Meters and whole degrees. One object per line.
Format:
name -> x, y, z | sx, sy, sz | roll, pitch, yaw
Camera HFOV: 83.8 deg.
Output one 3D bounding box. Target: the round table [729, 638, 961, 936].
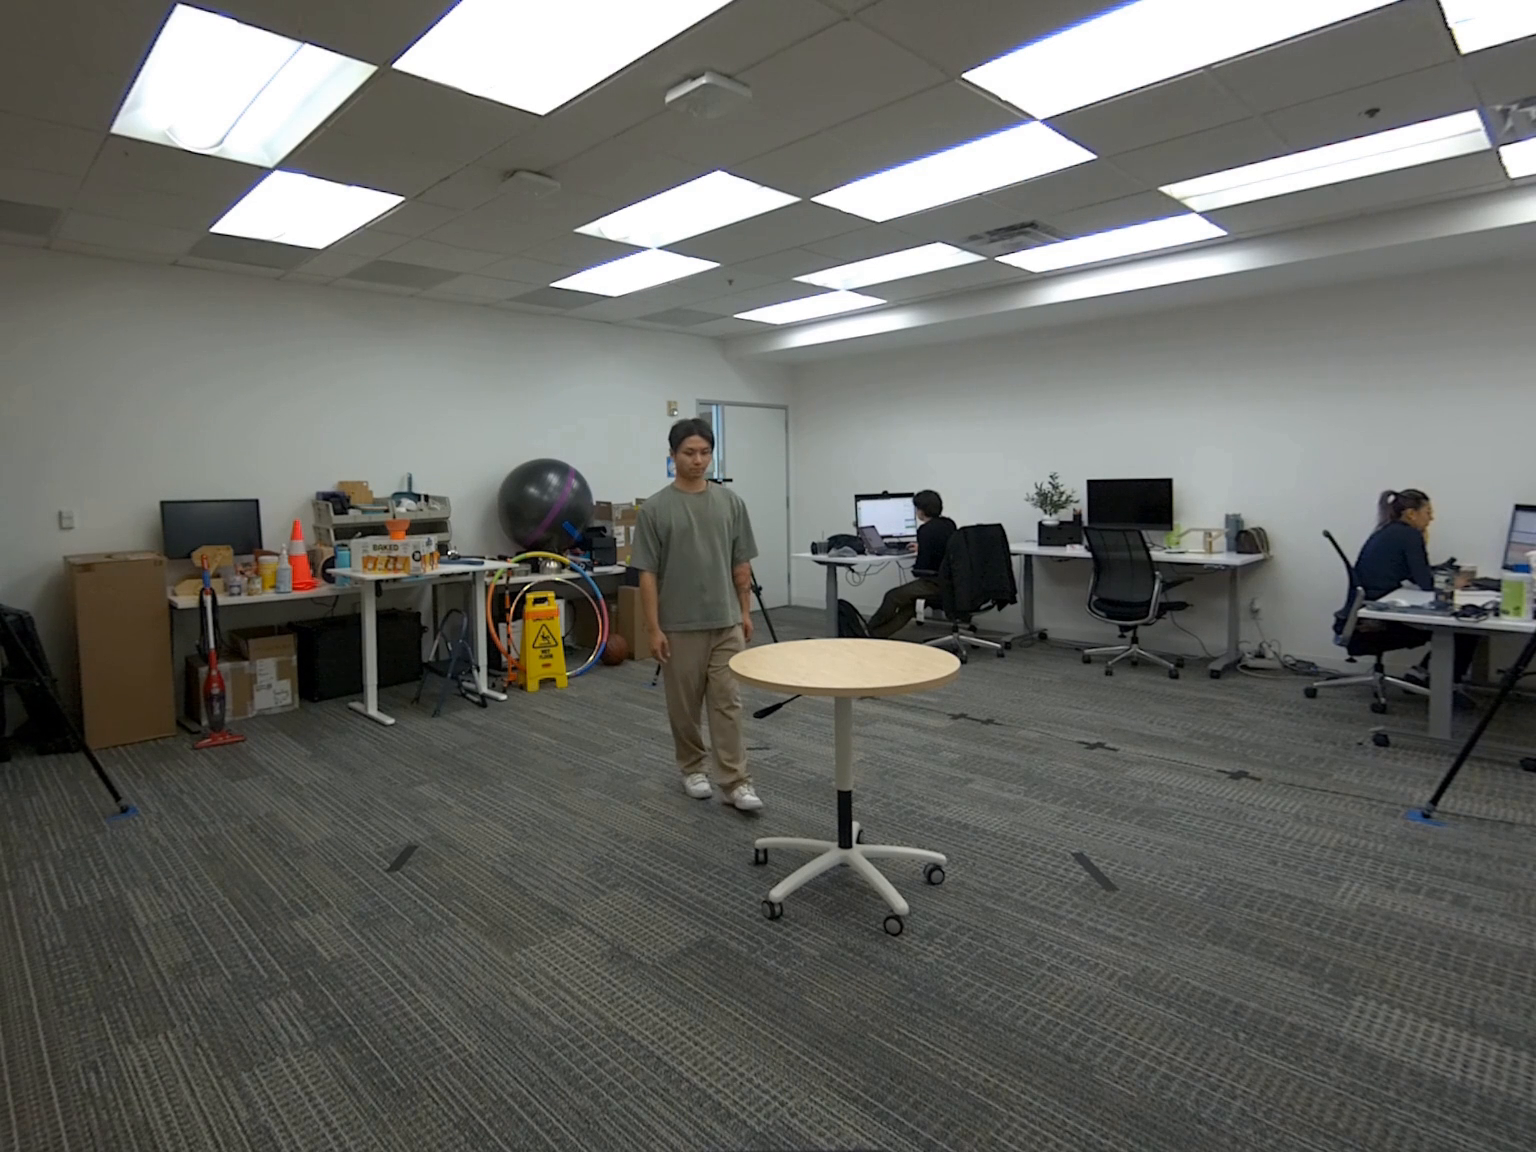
round table -> 0.268, 0.676, 2.895 | 0.763, 0.791, 0.768 | -1, 5, -2
